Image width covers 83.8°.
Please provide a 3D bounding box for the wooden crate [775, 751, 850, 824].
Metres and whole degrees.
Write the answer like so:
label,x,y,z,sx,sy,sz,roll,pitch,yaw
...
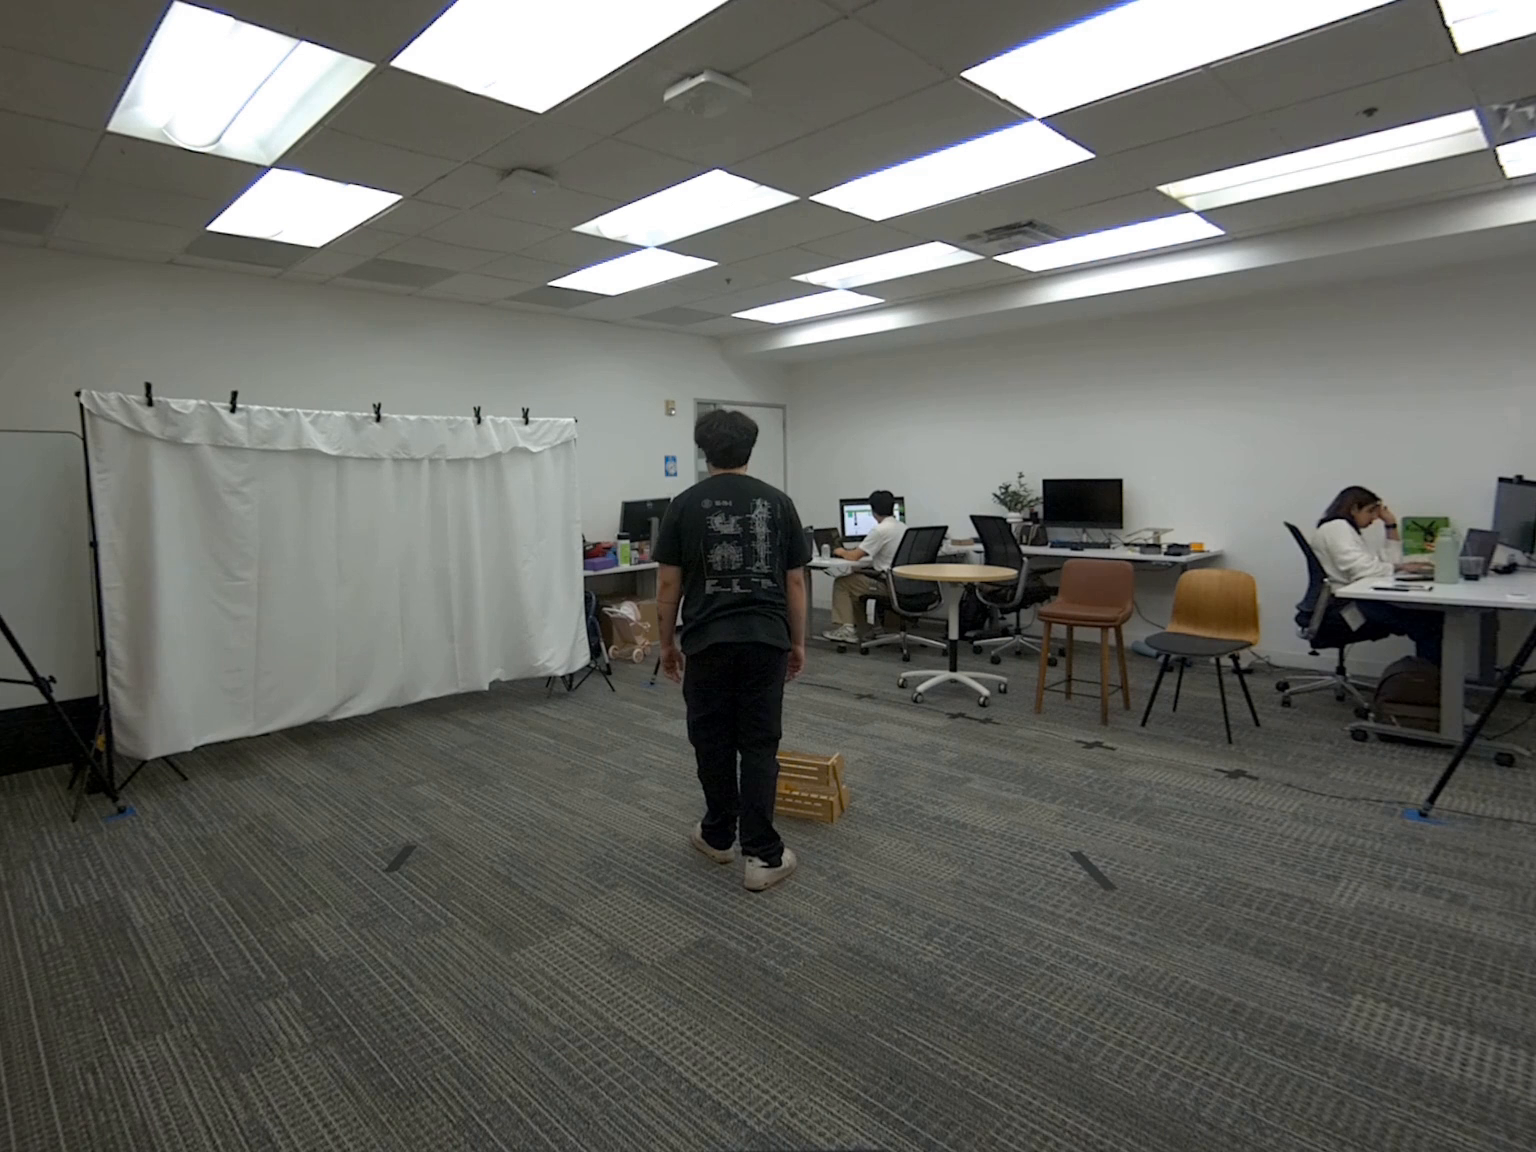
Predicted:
label,x,y,z,sx,sy,sz,roll,pitch,yaw
wooden crate,0.167,0.853,3.599,0.331,0.272,0.297,1,6,23
